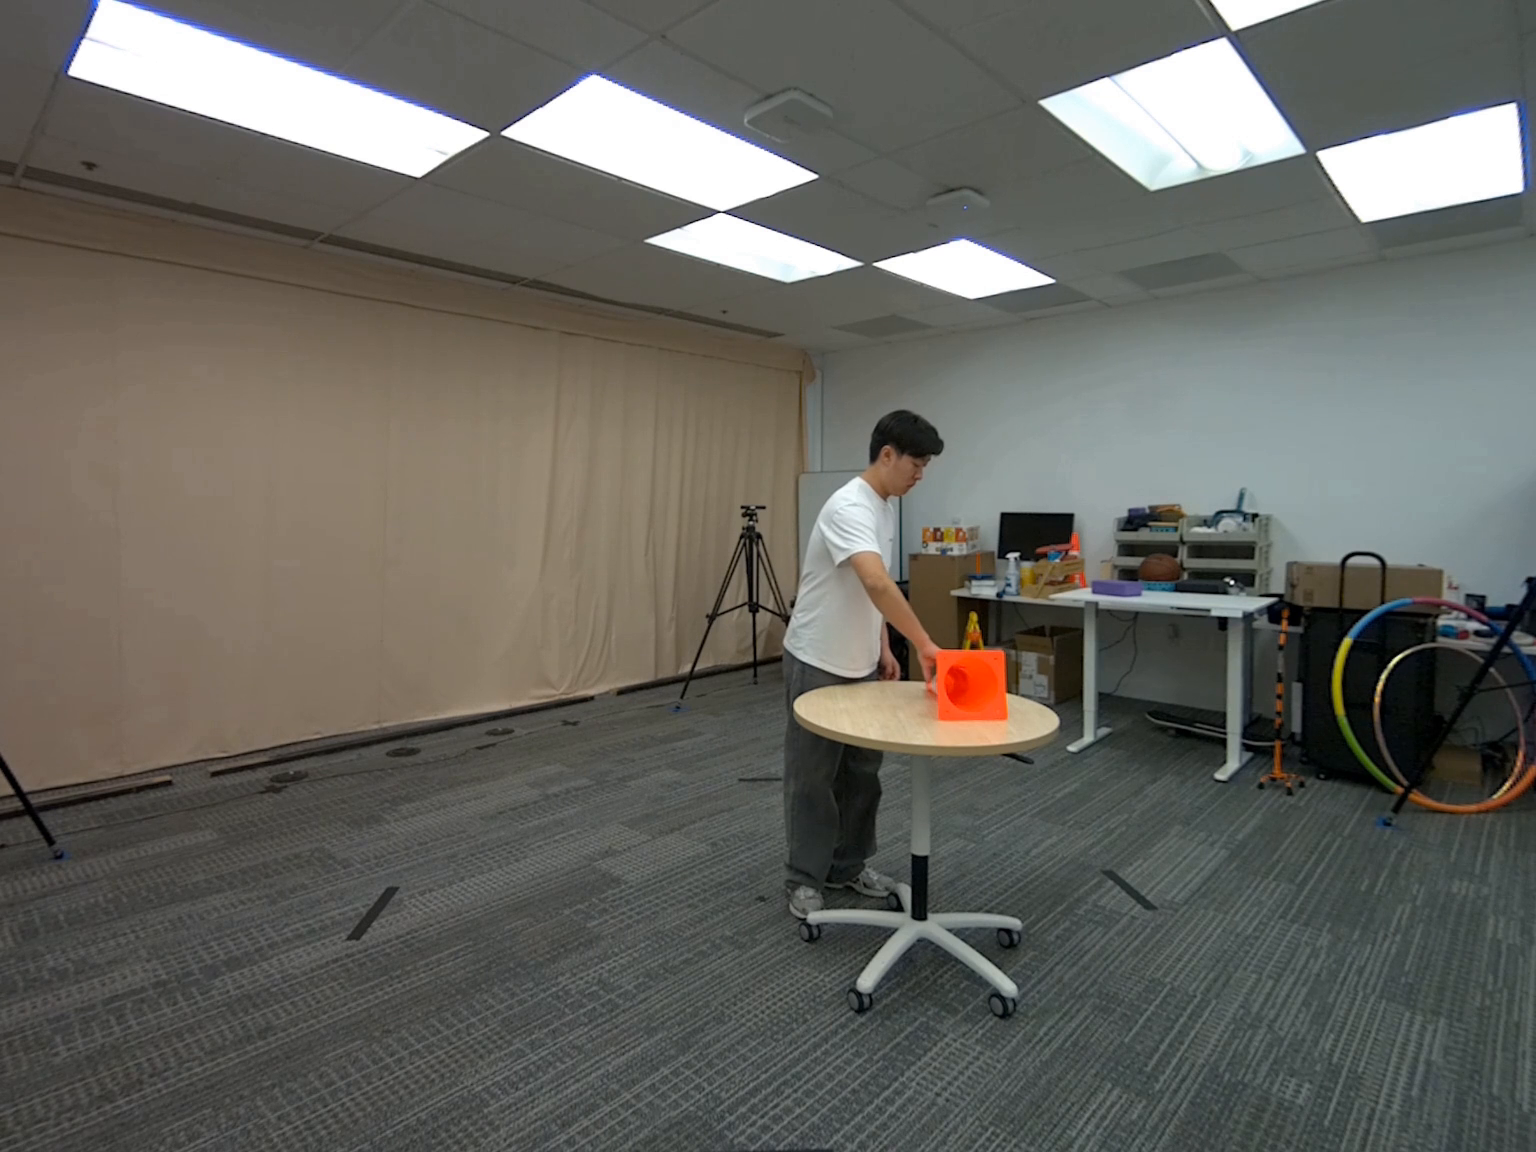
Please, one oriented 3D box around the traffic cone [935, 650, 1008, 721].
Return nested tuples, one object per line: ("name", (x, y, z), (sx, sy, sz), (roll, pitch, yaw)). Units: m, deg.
("traffic cone", (0.567, 0.340, 2.587), (0.202, 0.206, 0.383), (5, -9, -6))
